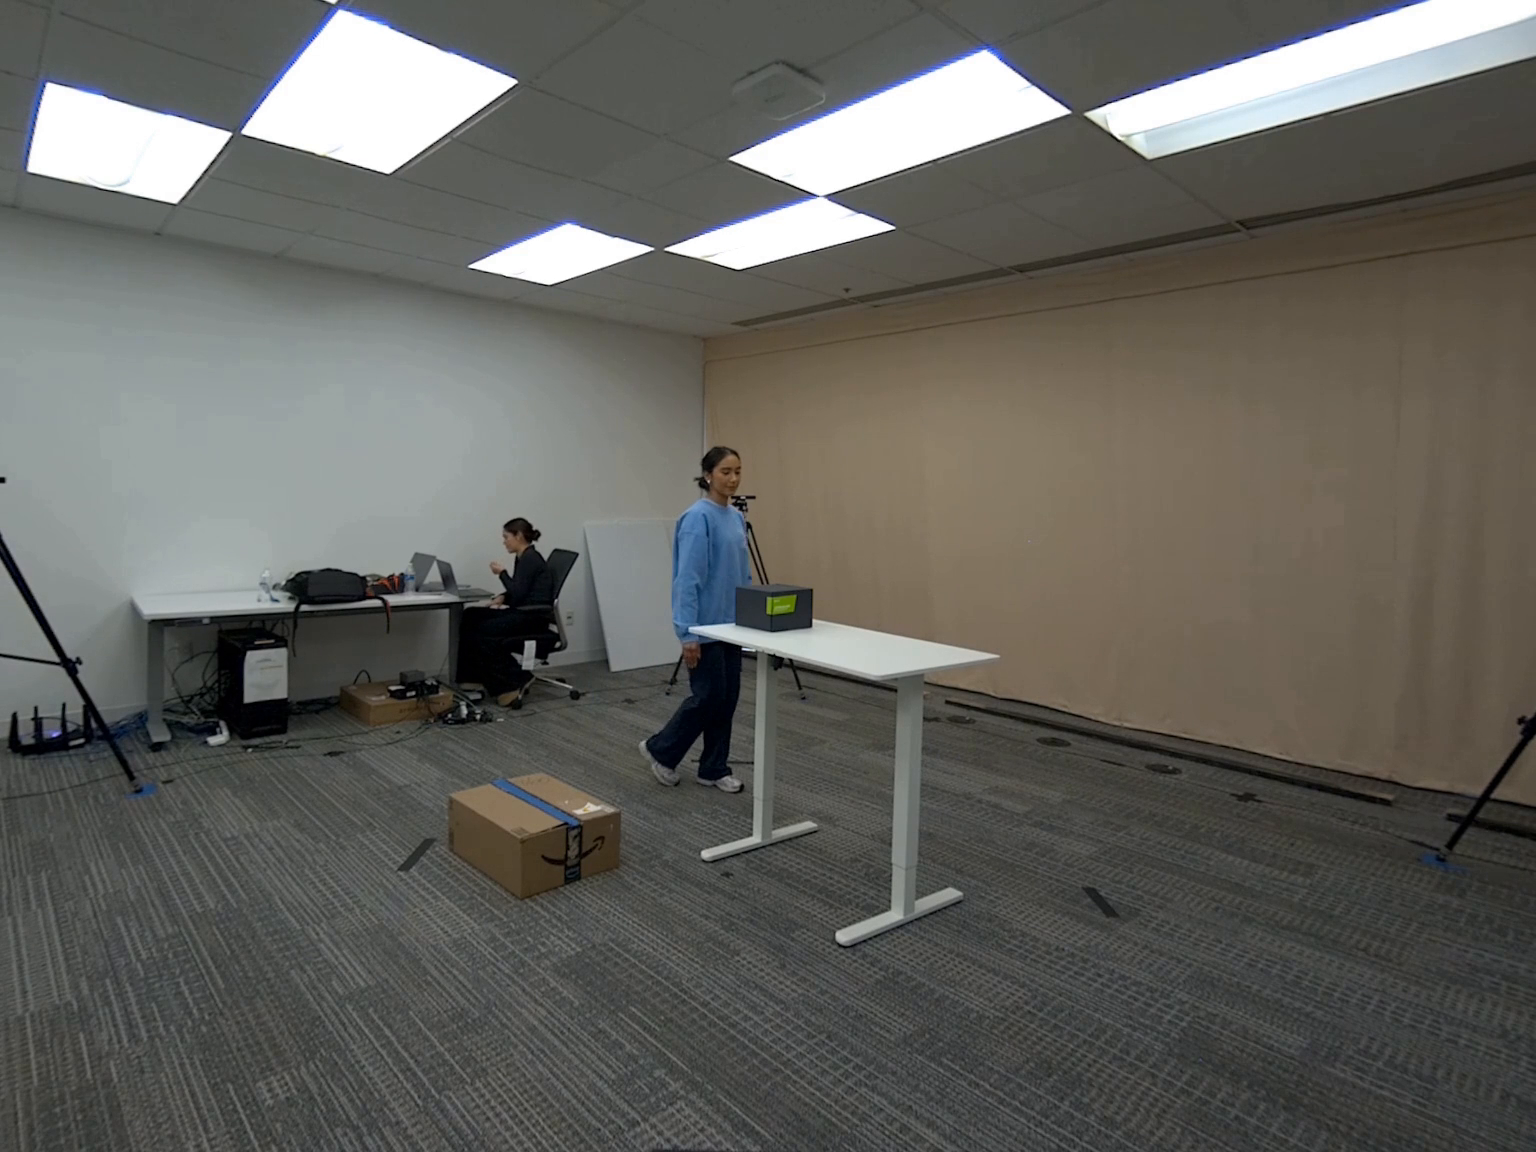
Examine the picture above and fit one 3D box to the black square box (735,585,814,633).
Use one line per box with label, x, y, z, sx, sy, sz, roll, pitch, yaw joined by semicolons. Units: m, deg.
black square box;0.015;0.123;3.339;0.223;0.155;0.222;-3;7;-43
